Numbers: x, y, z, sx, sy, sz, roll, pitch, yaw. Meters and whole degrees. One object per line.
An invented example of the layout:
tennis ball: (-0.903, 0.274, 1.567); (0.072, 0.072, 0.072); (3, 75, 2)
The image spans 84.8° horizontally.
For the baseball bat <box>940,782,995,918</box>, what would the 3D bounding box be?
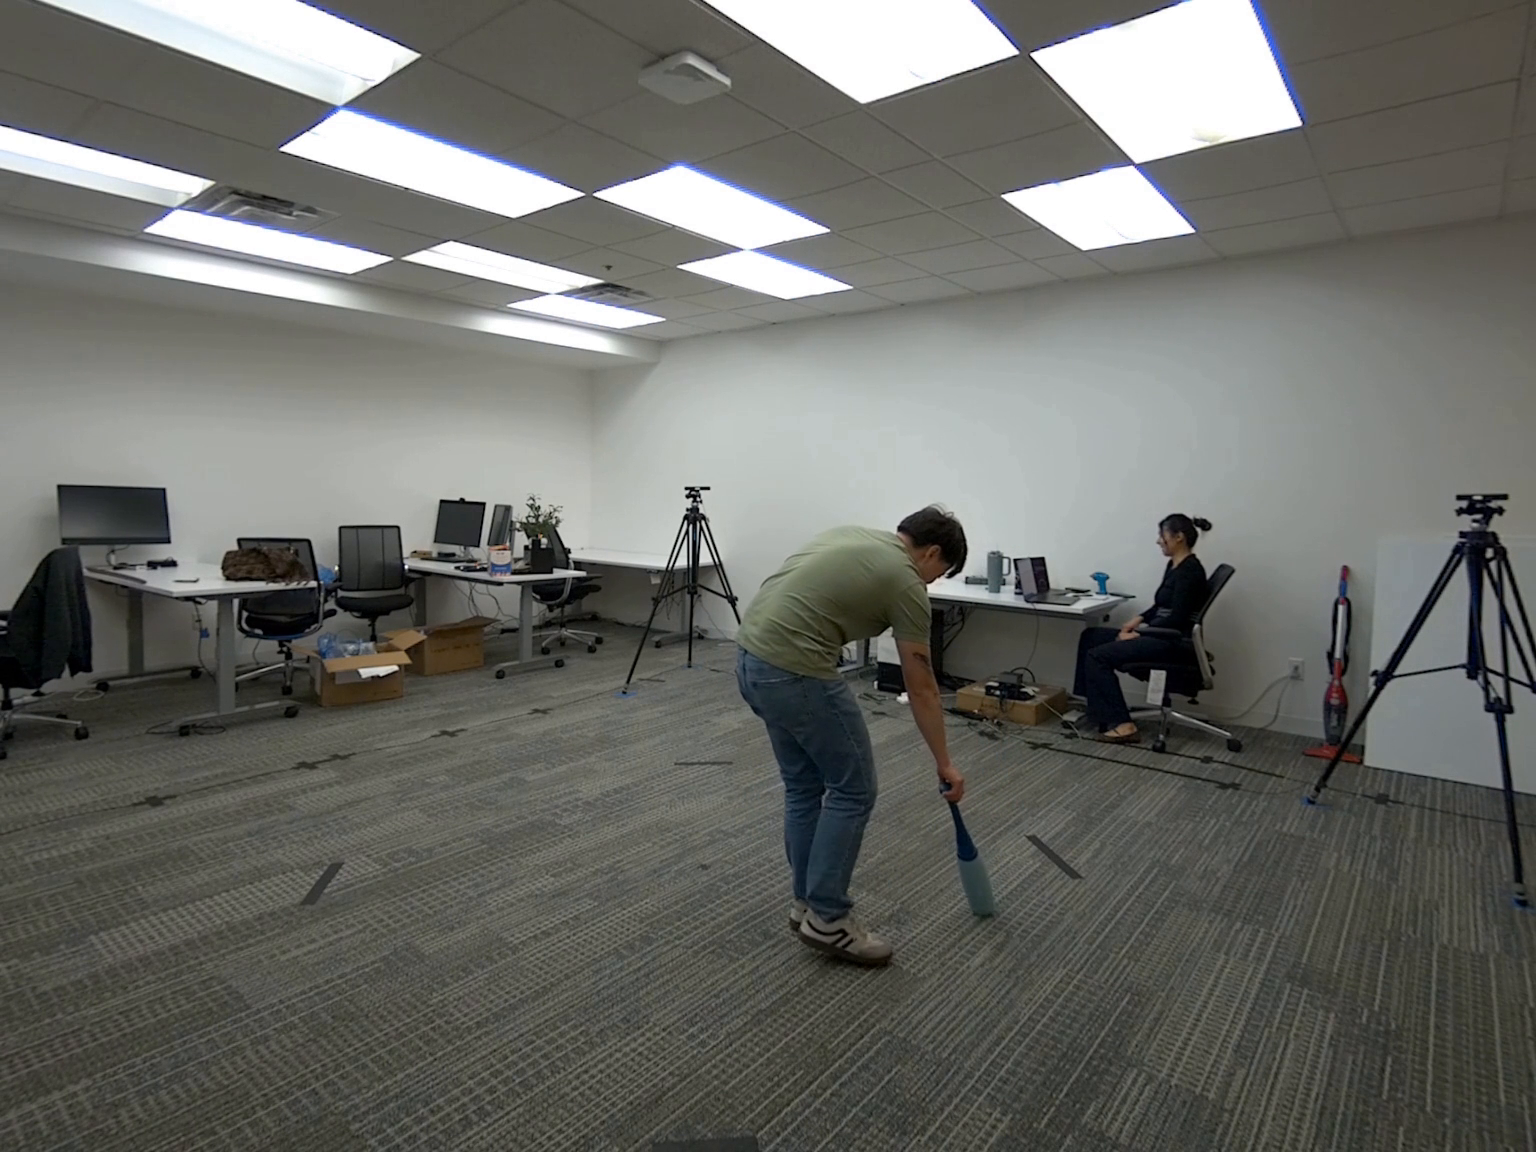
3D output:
baseball bat: (0.629, 0.878, 2.715); (0.089, 0.528, 0.091); (-17, 24, 7)
